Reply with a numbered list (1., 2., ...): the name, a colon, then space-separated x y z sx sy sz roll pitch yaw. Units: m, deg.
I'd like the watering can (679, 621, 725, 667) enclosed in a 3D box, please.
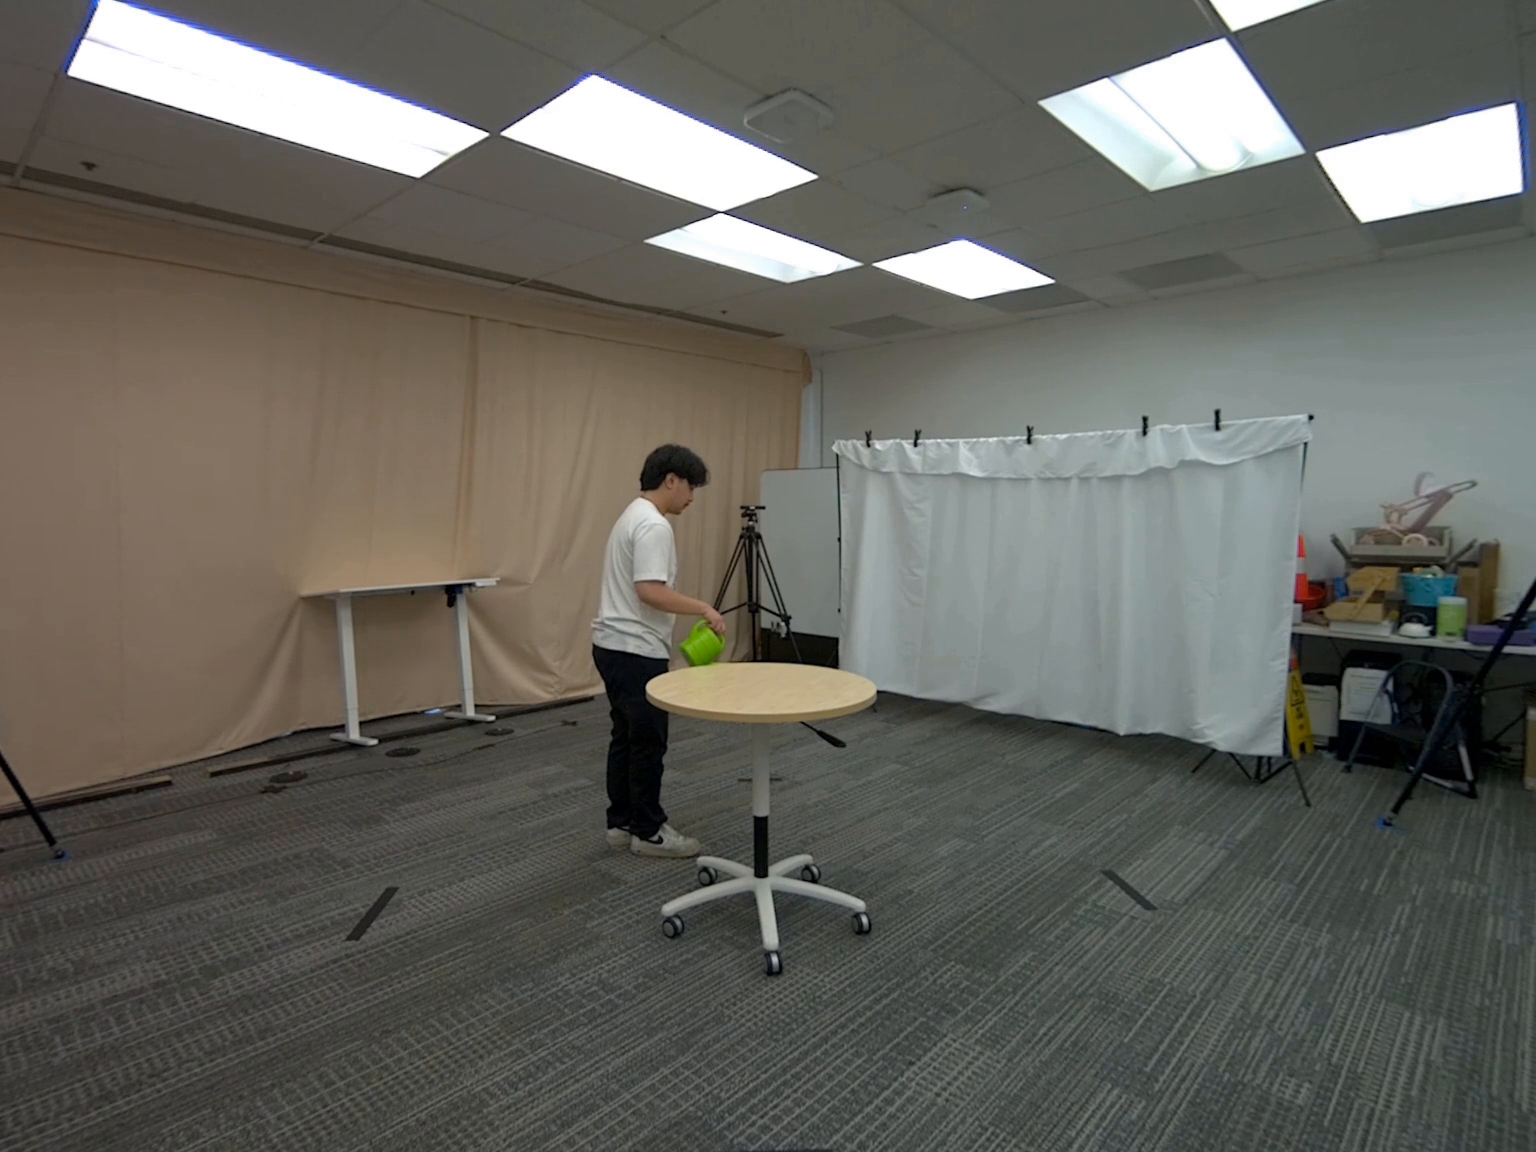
1. watering can: -0.225 0.312 3.292 0.175 0.277 0.099 -36 3 -19
